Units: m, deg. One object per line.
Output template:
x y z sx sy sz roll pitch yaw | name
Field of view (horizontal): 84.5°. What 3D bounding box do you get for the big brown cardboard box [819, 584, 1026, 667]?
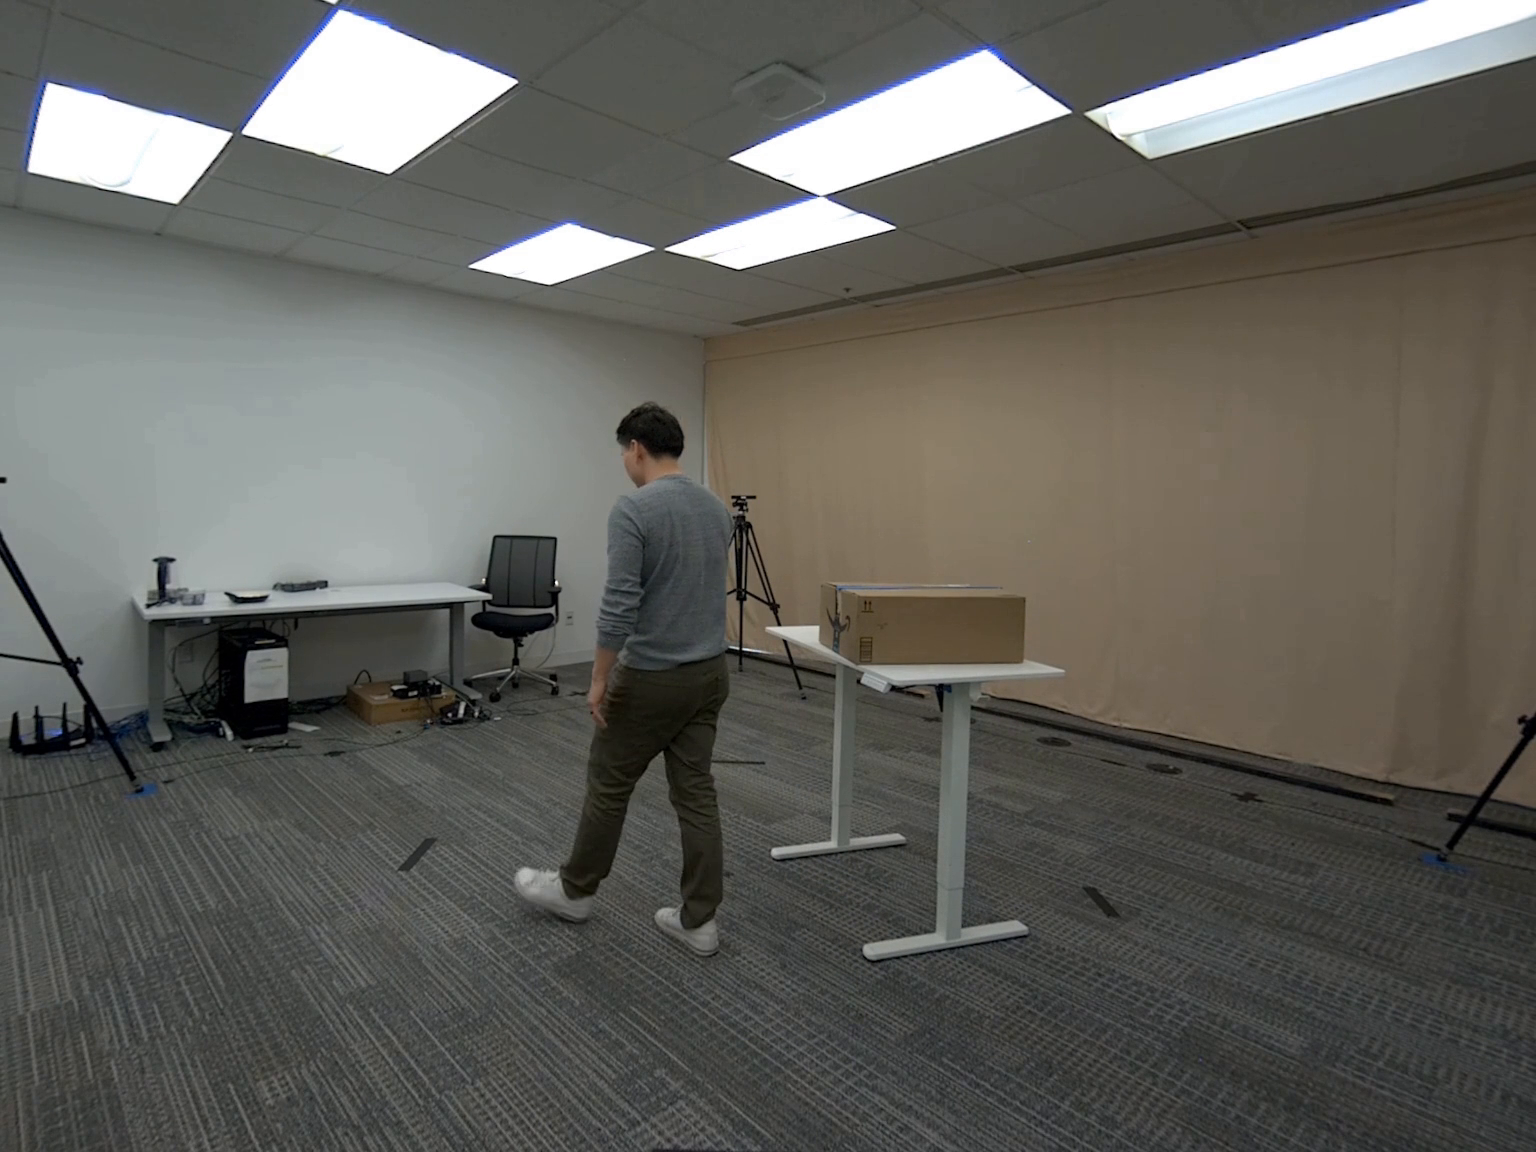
0.498 0.149 2.853 0.583 0.232 0.423 0 5 -12 | big brown cardboard box
